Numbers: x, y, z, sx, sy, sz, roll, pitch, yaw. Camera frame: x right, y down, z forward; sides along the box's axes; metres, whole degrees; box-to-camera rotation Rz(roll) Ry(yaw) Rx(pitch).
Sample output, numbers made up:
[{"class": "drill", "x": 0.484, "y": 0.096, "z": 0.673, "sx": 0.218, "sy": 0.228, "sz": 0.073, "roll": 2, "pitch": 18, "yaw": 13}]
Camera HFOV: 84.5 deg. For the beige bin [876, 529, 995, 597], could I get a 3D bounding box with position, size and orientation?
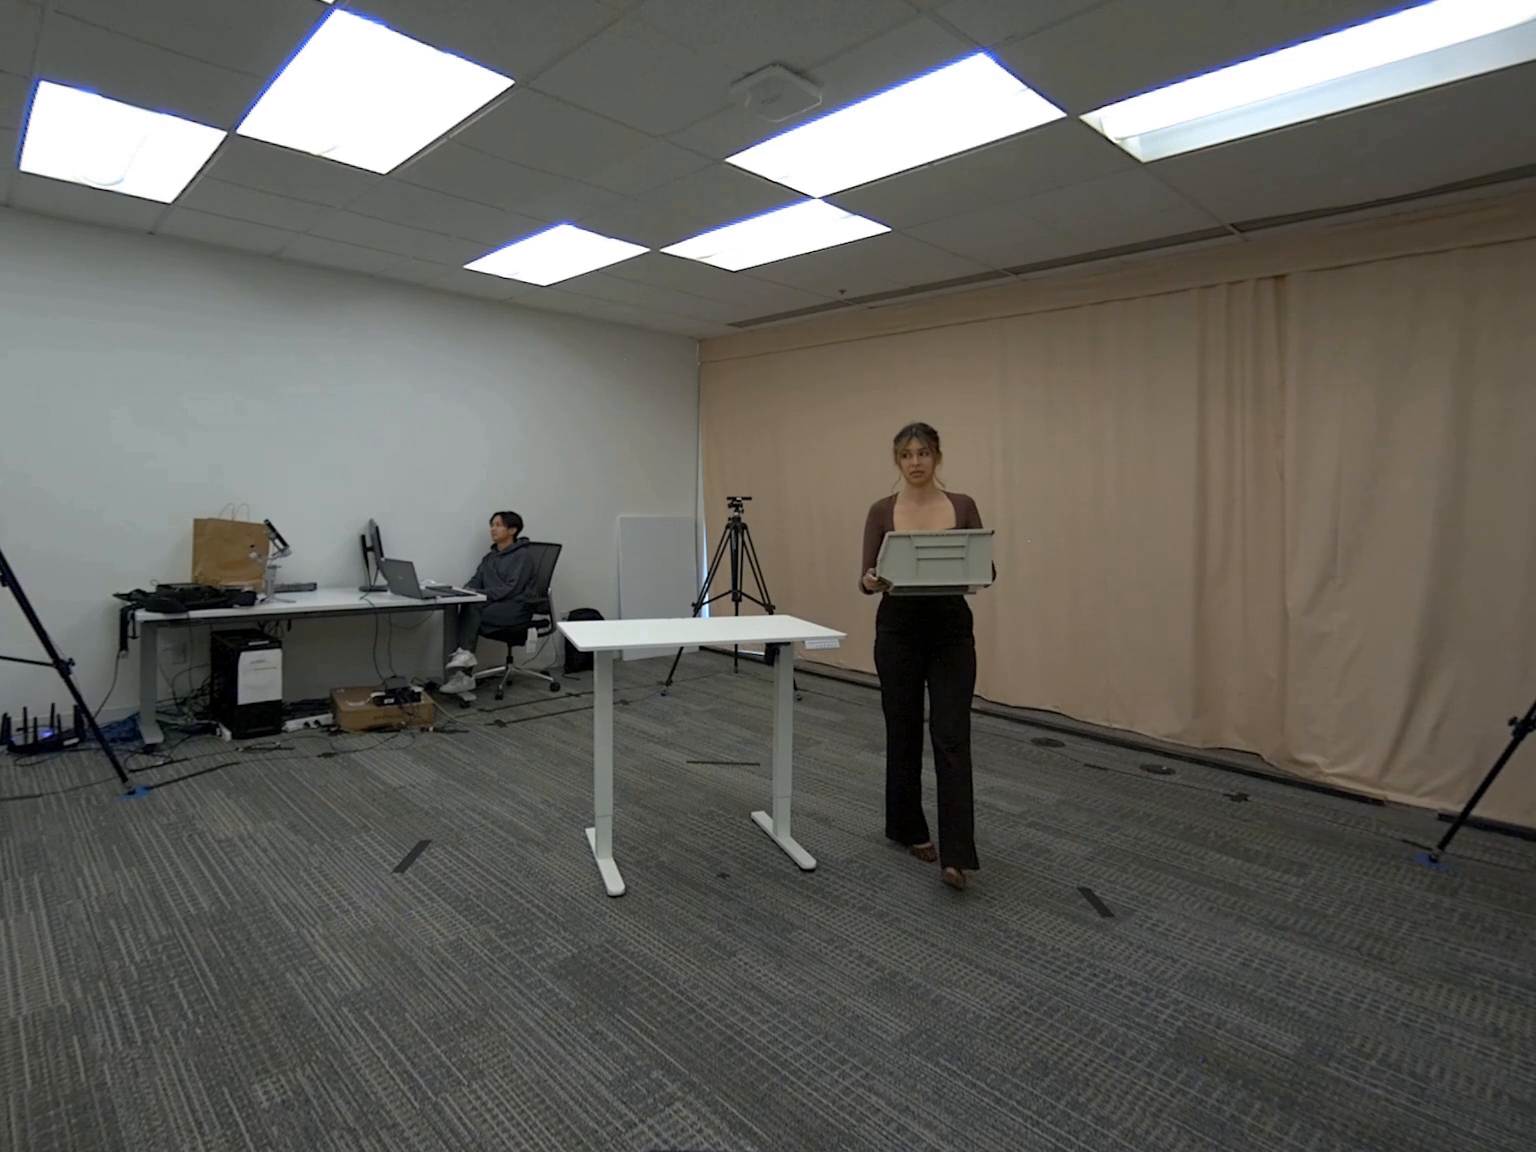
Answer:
[{"class": "beige bin", "x": 0.543, "y": -0.041, "z": 2.941, "sx": 0.380, "sy": 0.190, "sz": 0.418, "roll": 0, "pitch": -5, "yaw": 7}]
